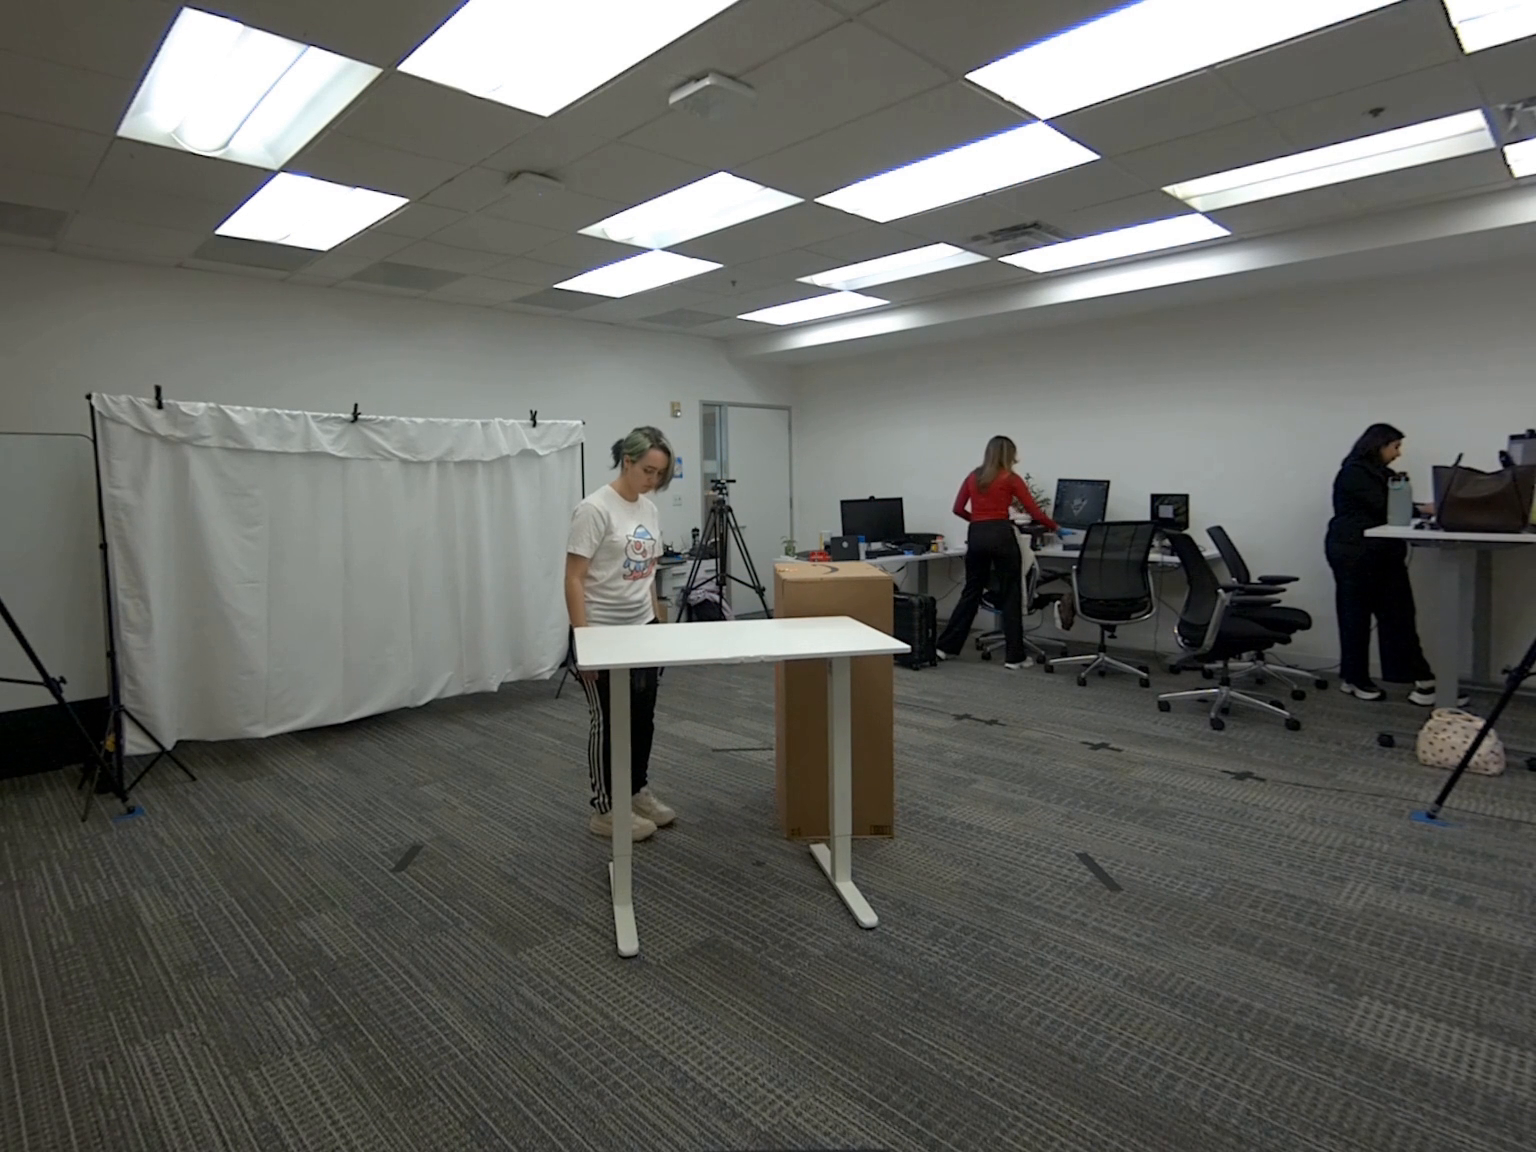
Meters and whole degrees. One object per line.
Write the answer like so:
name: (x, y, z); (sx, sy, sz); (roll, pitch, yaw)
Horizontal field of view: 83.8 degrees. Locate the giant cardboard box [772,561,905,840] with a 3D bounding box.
giant cardboard box: (0.258, 0.484, 3.561); (0.446, 1.023, 0.587); (0, 4, -3)
